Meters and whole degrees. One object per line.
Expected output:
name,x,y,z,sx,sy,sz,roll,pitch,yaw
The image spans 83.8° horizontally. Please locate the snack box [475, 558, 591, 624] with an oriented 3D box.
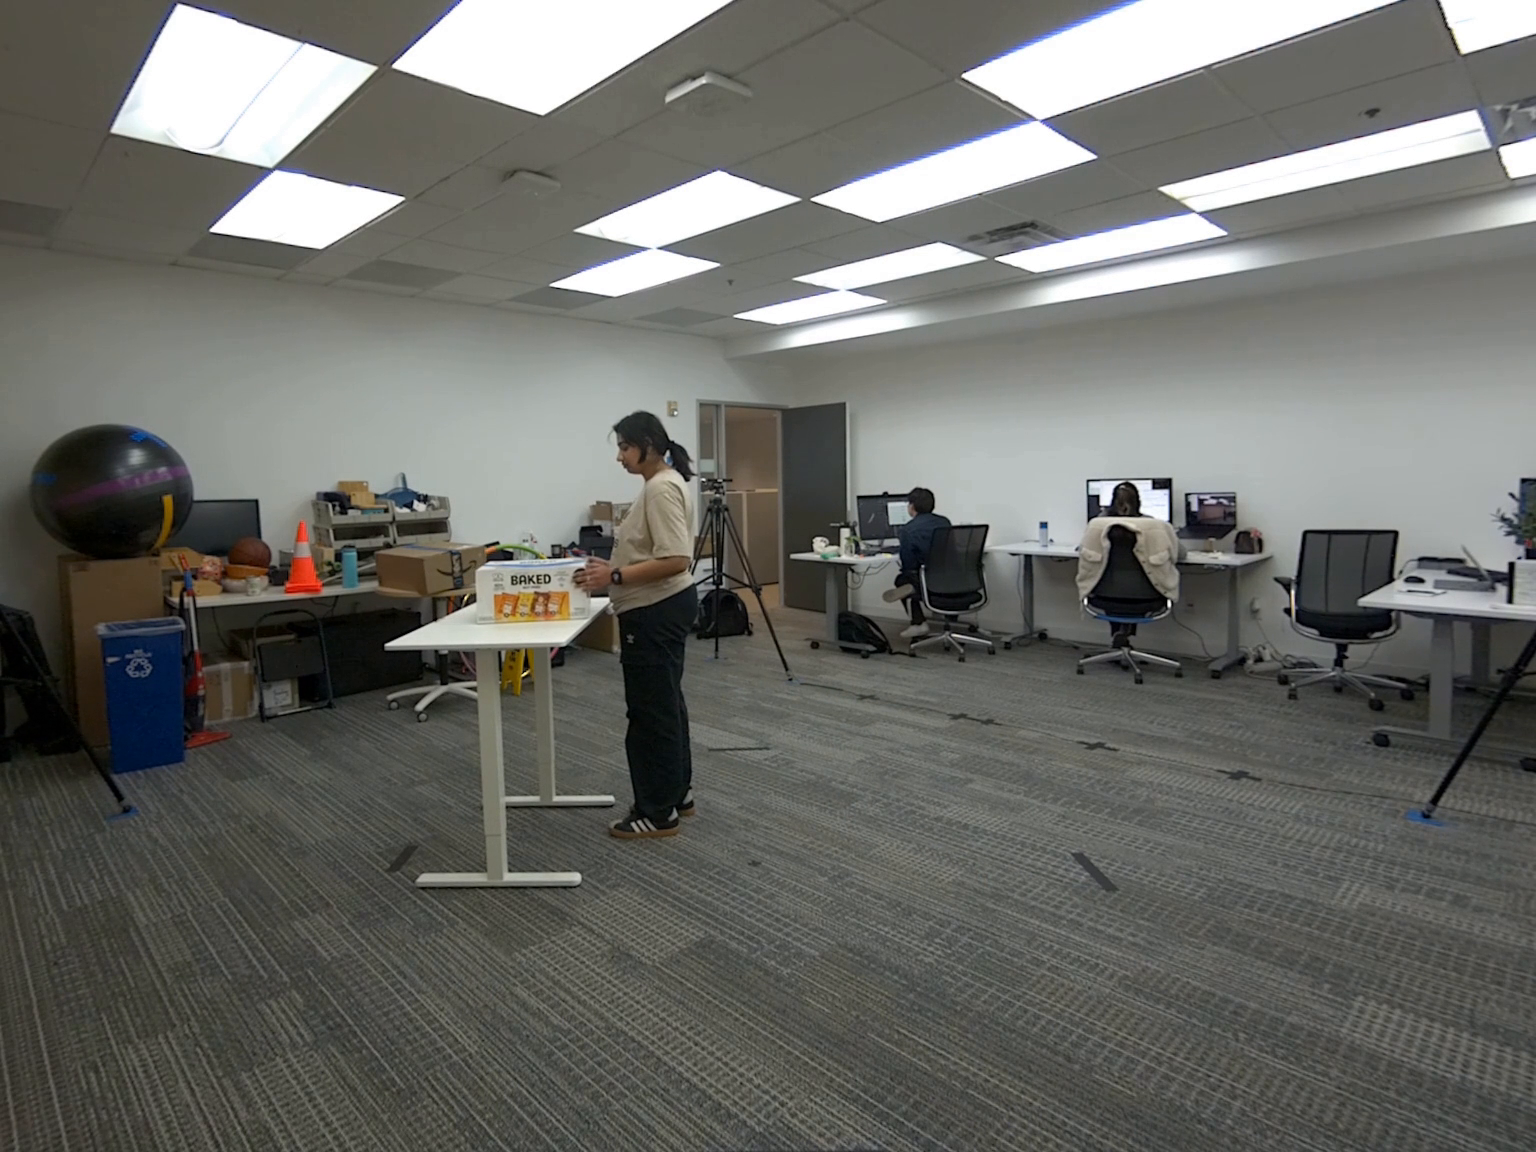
snack box,-0.907,0.049,3.349,0.402,0.205,0.345,-3,6,-9
